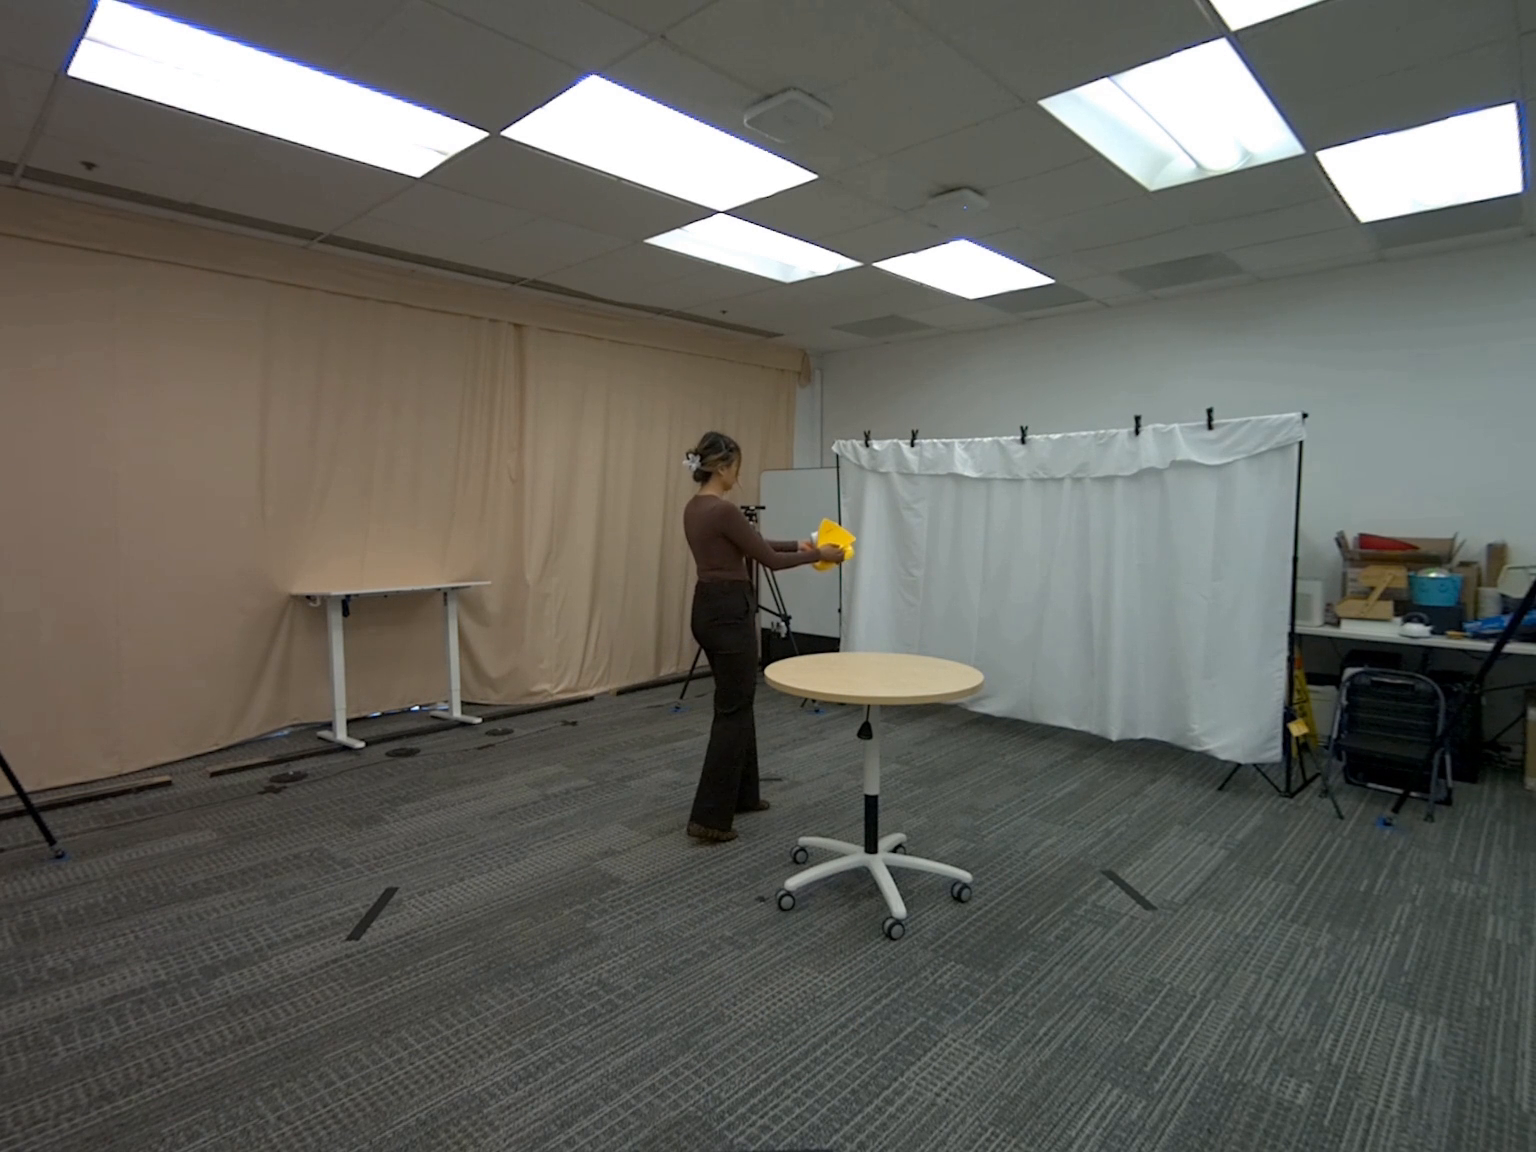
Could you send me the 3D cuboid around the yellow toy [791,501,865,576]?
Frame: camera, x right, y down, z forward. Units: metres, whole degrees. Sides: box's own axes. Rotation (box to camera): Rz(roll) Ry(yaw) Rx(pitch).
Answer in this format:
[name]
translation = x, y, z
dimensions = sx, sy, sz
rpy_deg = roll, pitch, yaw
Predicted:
[yellow toy]
translation = 0.269, -0.174, 3.839
dimensions = 0.203, 0.226, 0.199
rpy_deg = -27, 23, -14
